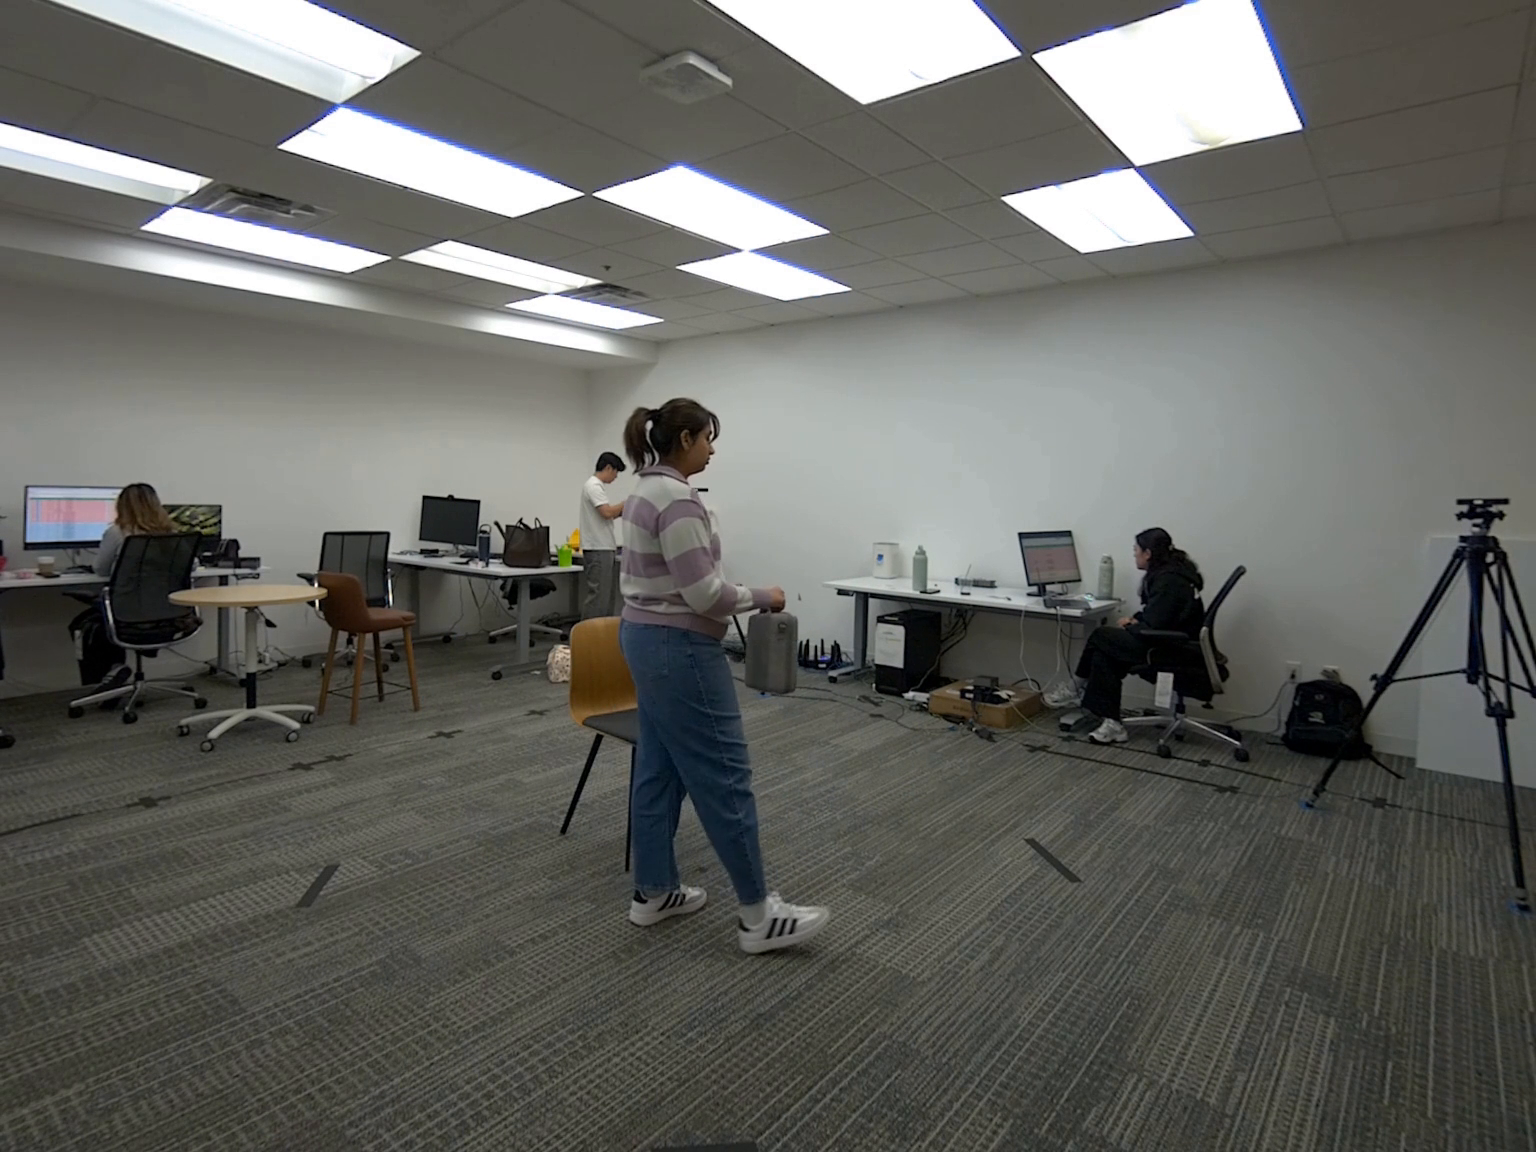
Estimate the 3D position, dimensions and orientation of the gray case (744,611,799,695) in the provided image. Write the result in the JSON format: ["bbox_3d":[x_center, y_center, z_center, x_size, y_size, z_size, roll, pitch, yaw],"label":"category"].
[{"bbox_3d":[-0.002,0.246,2.757,0.103,0.262,0.259,5,-7,-15],"label":"gray case"}]
